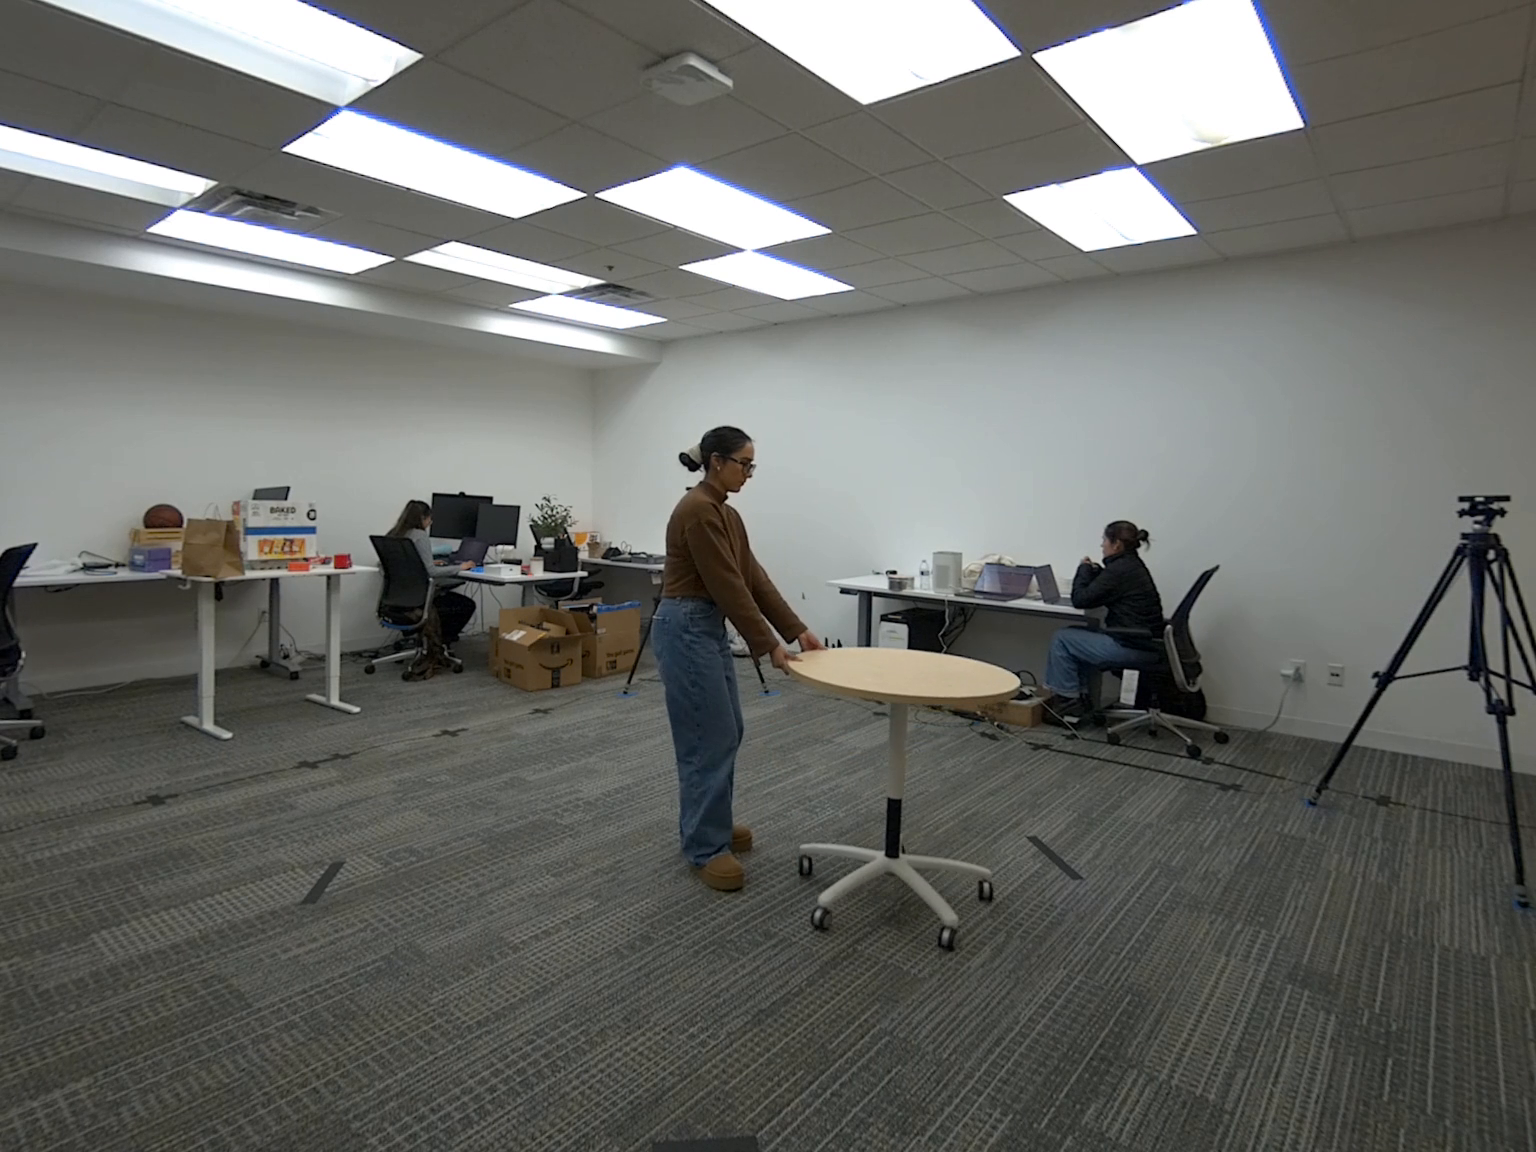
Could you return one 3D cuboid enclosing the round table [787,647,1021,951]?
[{"bbox_3d":[0.393,0.703,2.897,0.784,0.784,0.789,2,4,-2],"label":"round table"}]
